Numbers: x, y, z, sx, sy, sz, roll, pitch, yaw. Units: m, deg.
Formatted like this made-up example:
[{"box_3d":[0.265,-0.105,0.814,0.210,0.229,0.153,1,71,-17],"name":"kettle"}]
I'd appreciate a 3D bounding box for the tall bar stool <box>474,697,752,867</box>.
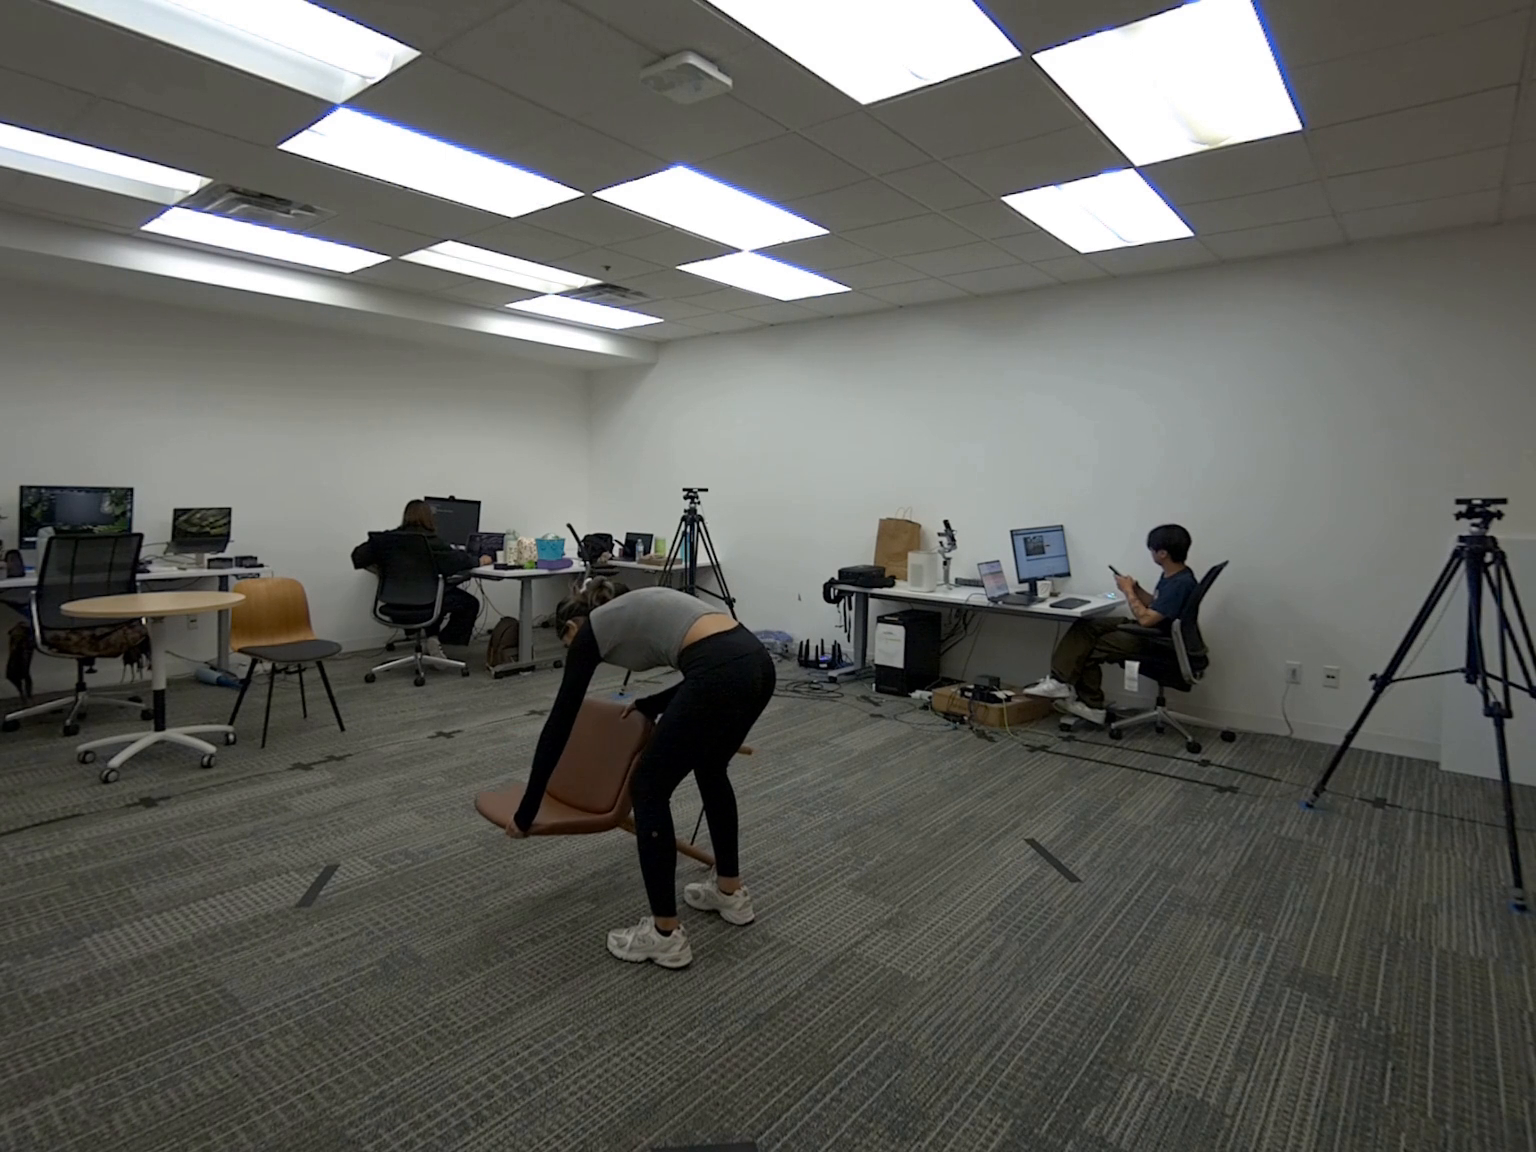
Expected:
[{"box_3d":[-0.538,0.699,3.003,0.472,0.471,0.853,4,-17,42],"name":"tall bar stool"}]
